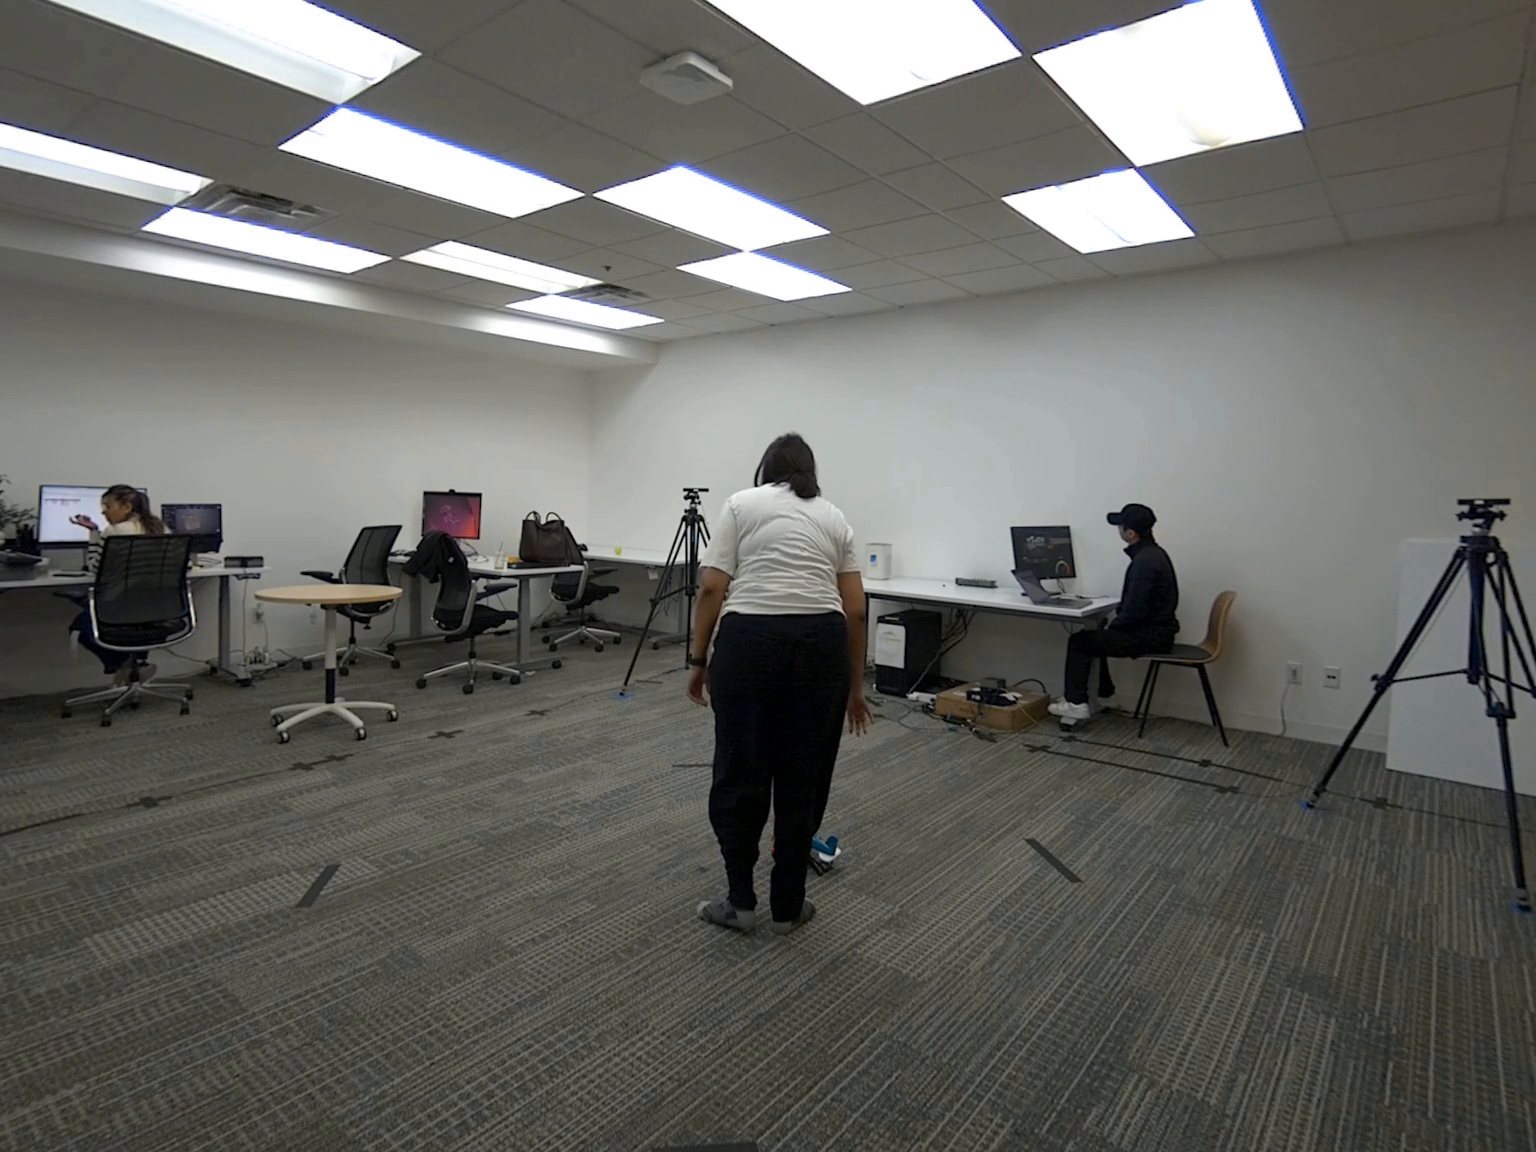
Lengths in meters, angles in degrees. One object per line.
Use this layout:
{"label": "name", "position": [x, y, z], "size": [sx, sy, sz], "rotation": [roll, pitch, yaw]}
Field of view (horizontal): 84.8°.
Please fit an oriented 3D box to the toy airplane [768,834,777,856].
{"label": "toy airplane", "position": [0.138, 0.985, 3.199], "size": [0.260, 0.156, 0.251], "rotation": [0, 4, 3]}
